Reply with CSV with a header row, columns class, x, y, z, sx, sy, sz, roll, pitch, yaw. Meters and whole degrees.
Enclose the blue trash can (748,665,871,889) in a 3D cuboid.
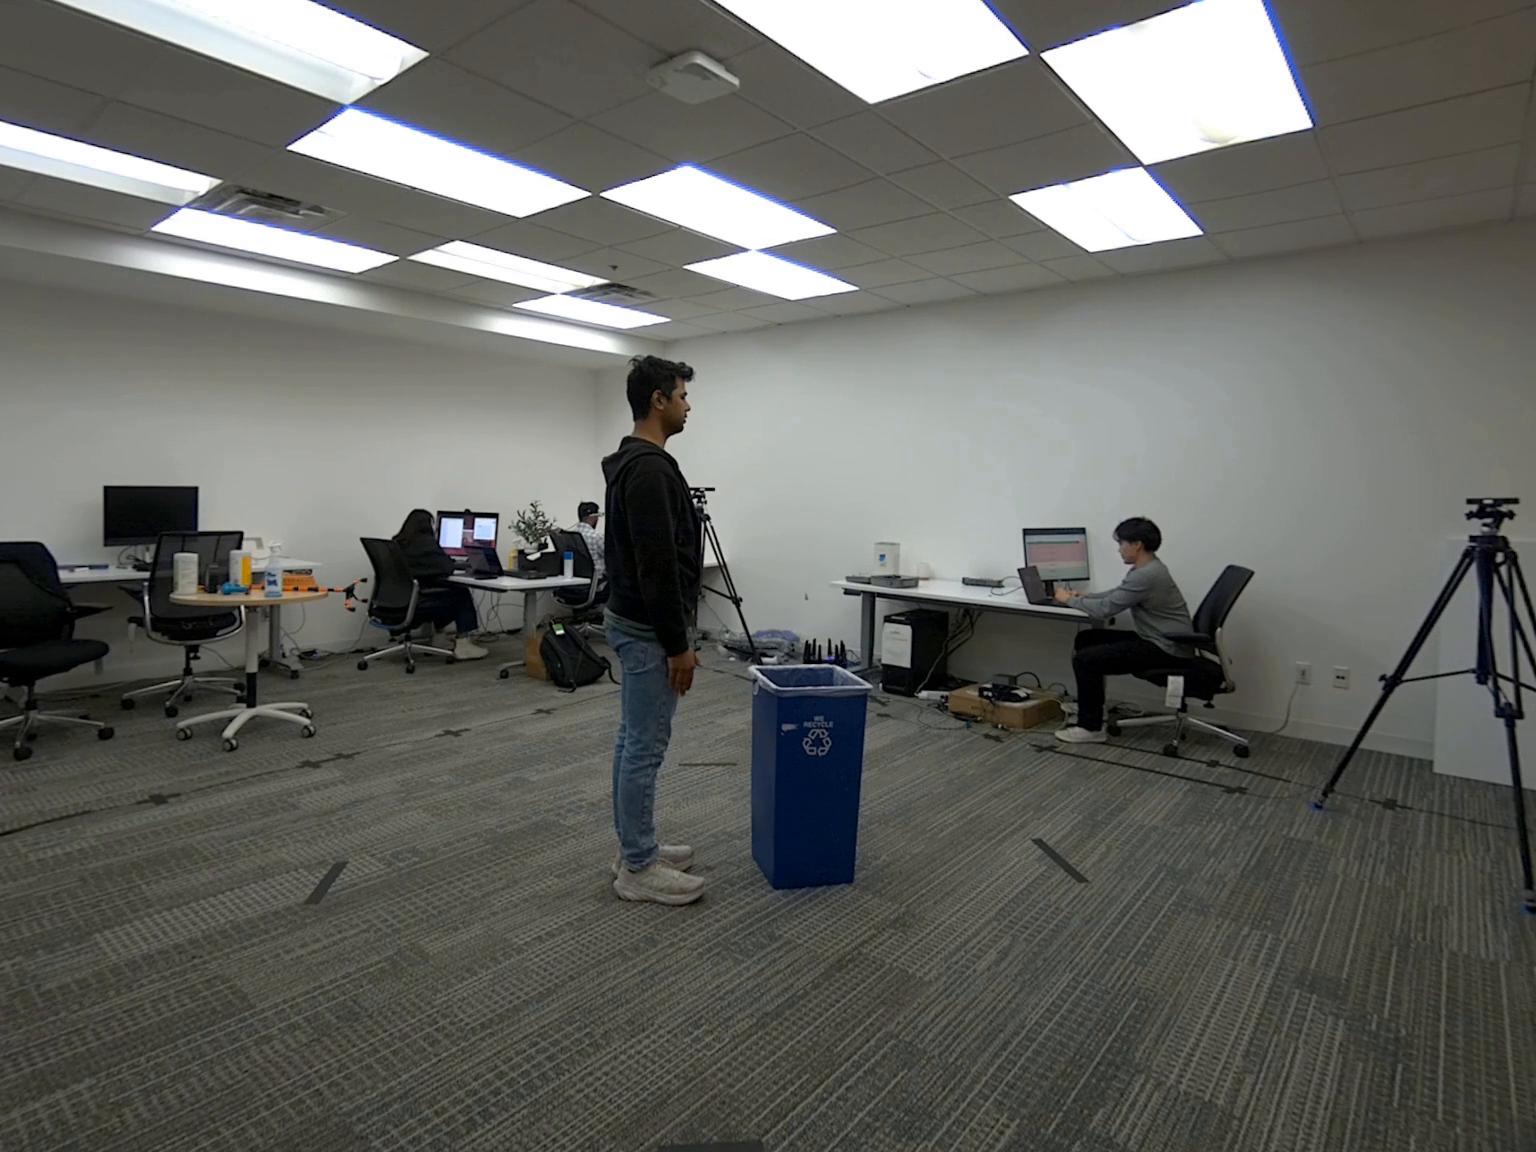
class,x,y,z,sx,sy,sz,roll,pitch,yaw
blue trash can,0.133,0.718,3.110,0.368,0.711,0.385,1,4,-16
